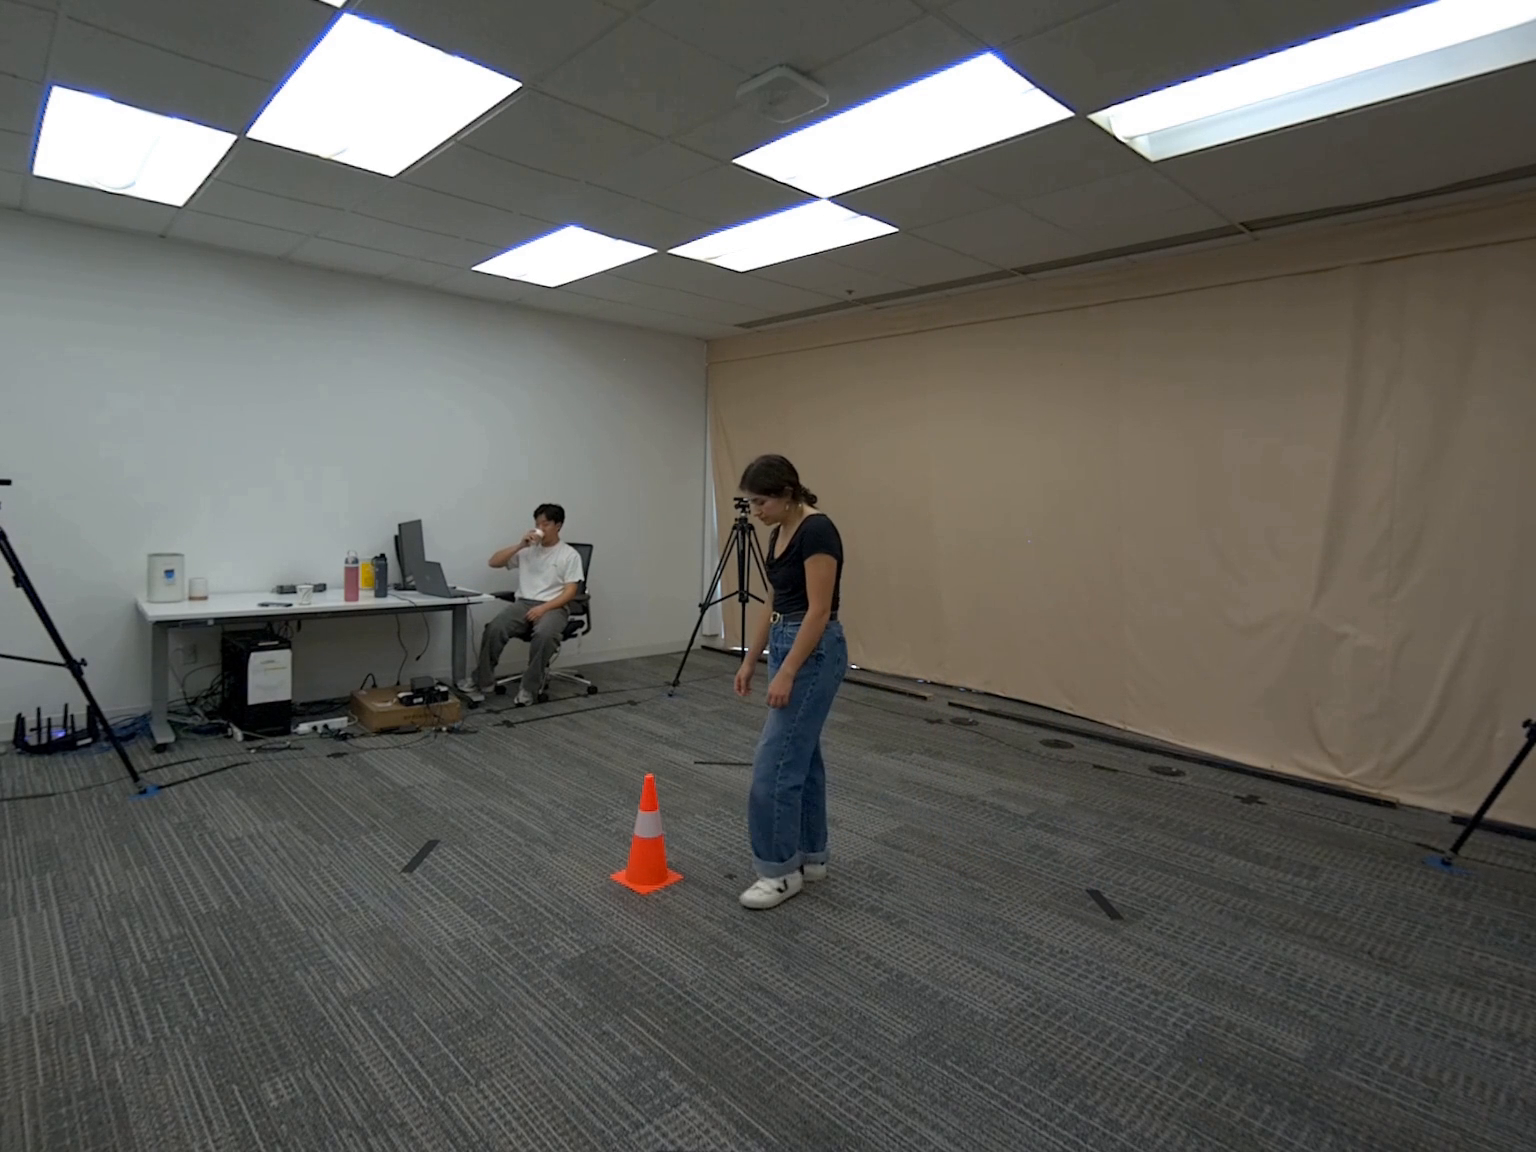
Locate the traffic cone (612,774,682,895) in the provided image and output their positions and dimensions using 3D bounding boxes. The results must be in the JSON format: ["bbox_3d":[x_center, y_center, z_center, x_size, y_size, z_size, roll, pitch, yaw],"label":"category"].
[{"bbox_3d":[-0.446,0.921,3.073,0.210,0.383,0.199,5,3,37],"label":"traffic cone"}]
